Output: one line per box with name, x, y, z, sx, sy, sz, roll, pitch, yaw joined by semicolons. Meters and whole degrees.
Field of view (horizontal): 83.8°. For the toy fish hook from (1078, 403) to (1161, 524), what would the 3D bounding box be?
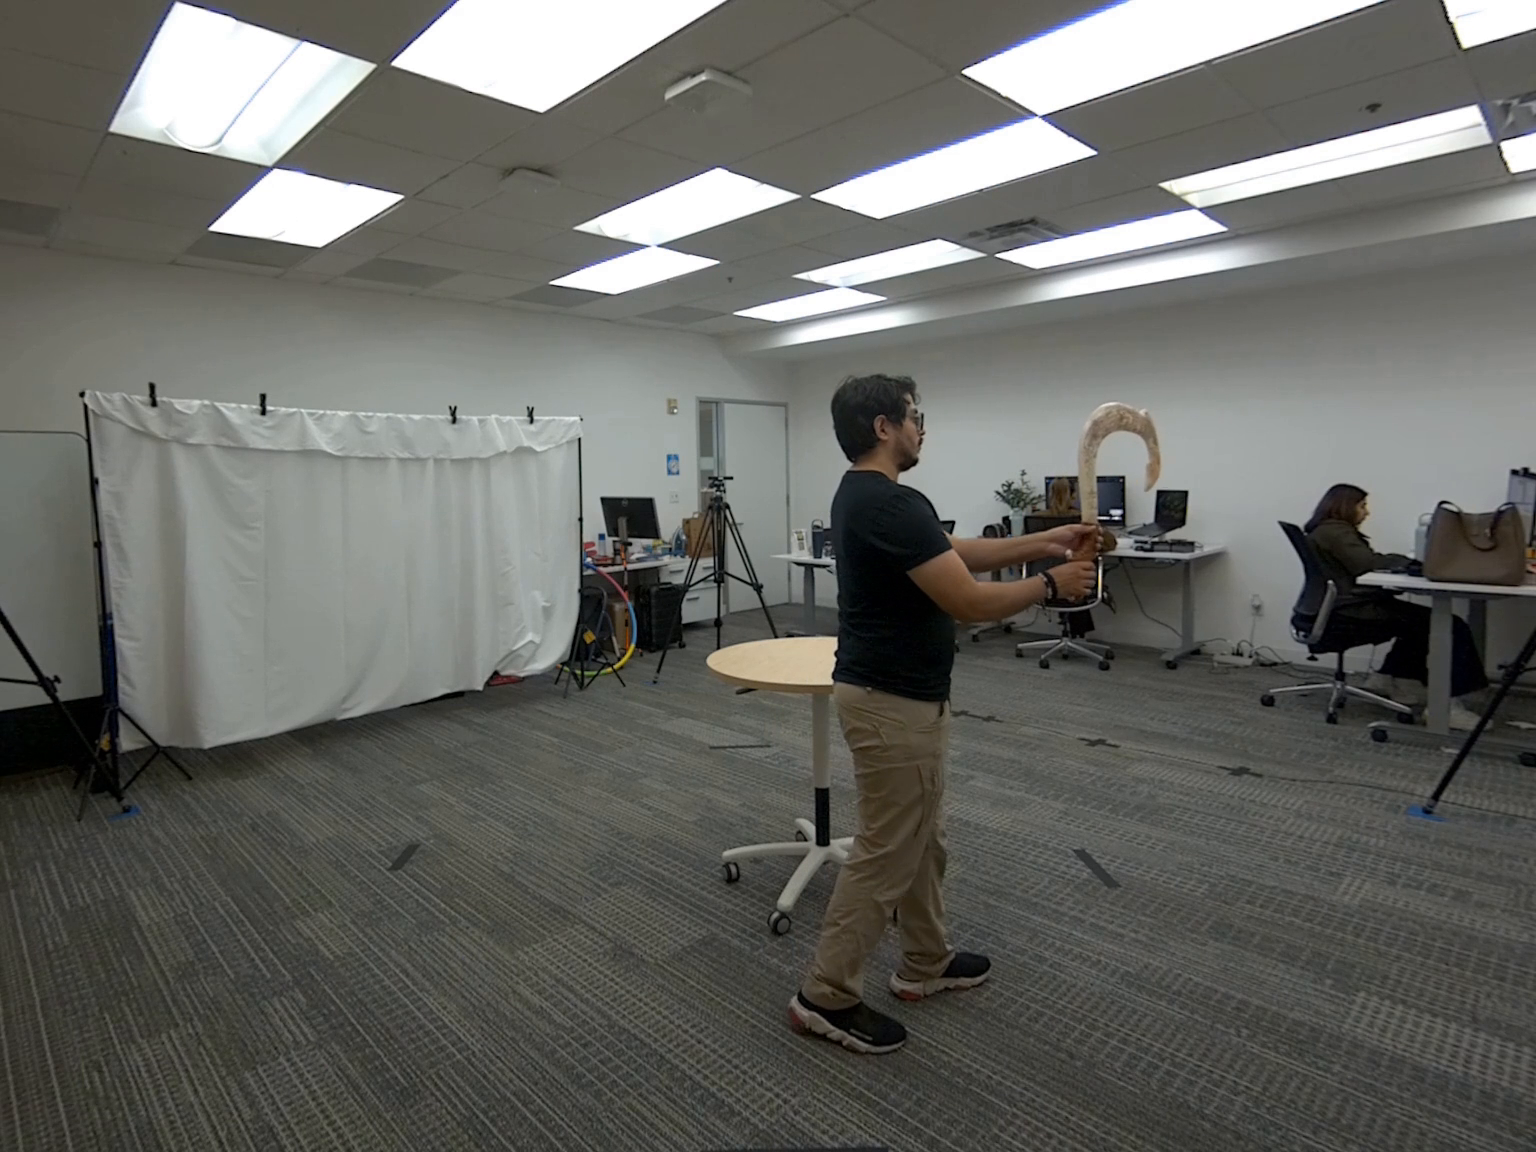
toy fish hook;0.845;-0.176;2.100;0.222;0.507;0.049;14;-2;-8
